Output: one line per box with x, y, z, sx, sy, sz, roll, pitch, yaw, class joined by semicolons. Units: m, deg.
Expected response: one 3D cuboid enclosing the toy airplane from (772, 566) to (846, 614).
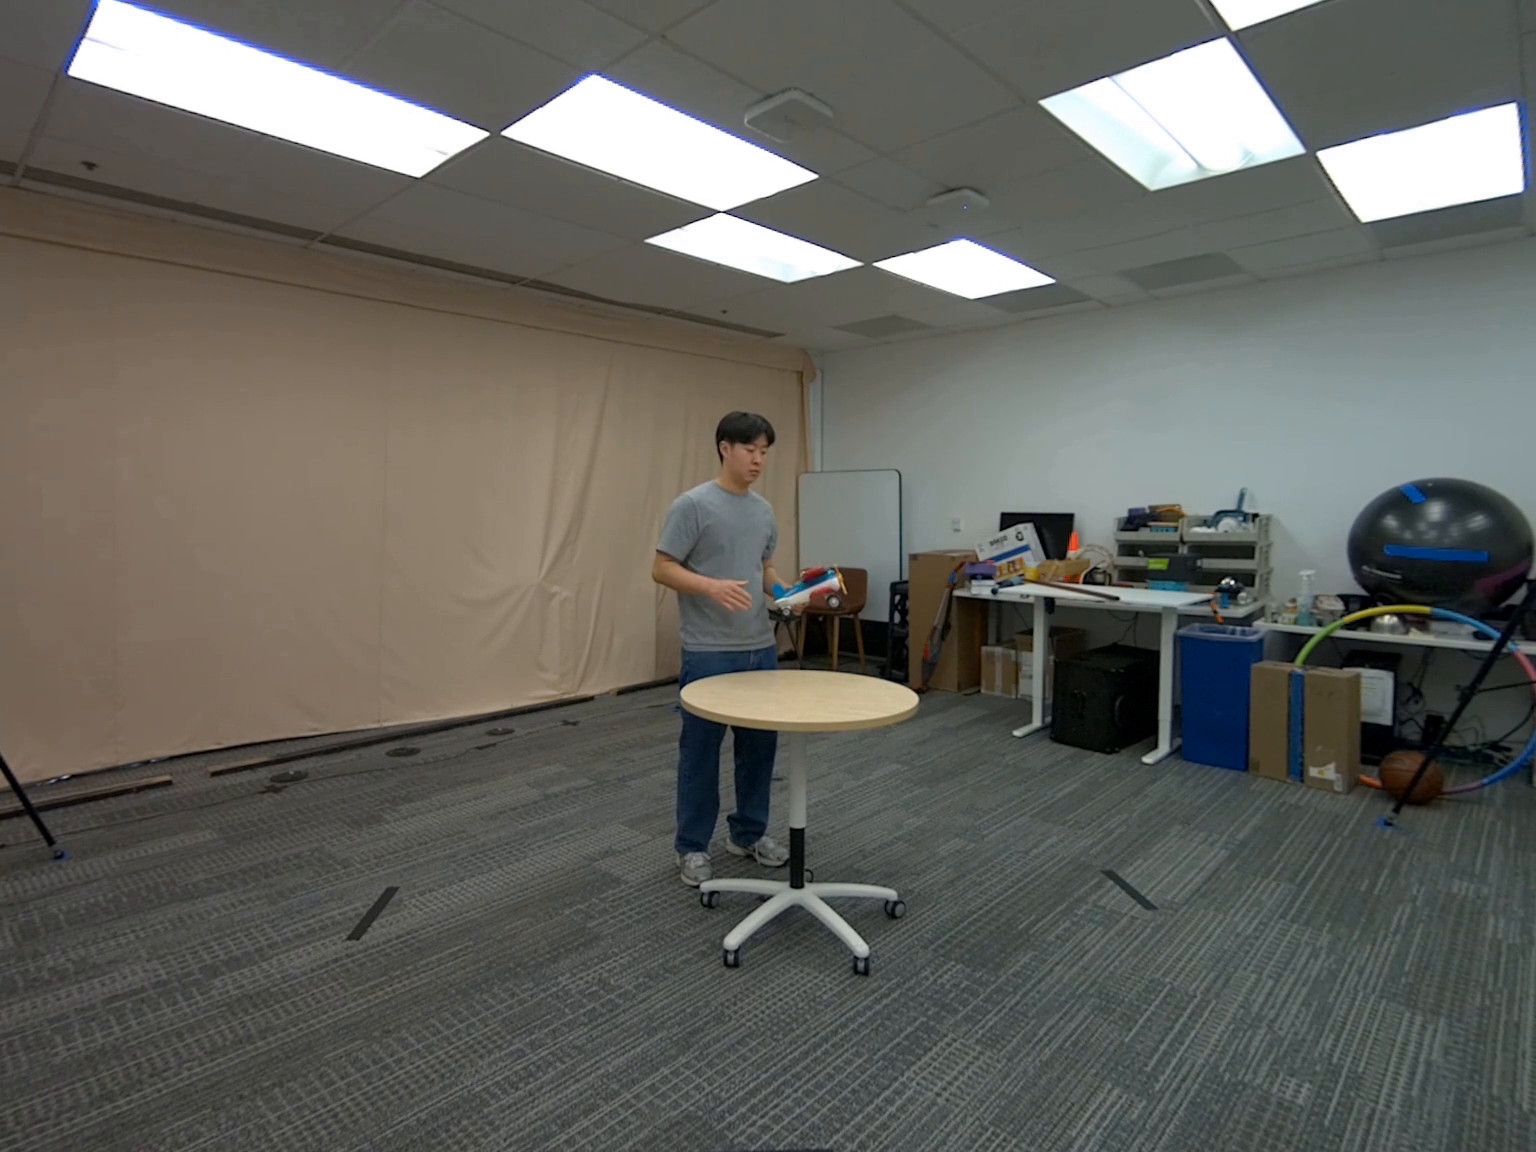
0.150;0.044;3.042;0.255;0.158;0.253;-3;-14;-18;toy airplane
